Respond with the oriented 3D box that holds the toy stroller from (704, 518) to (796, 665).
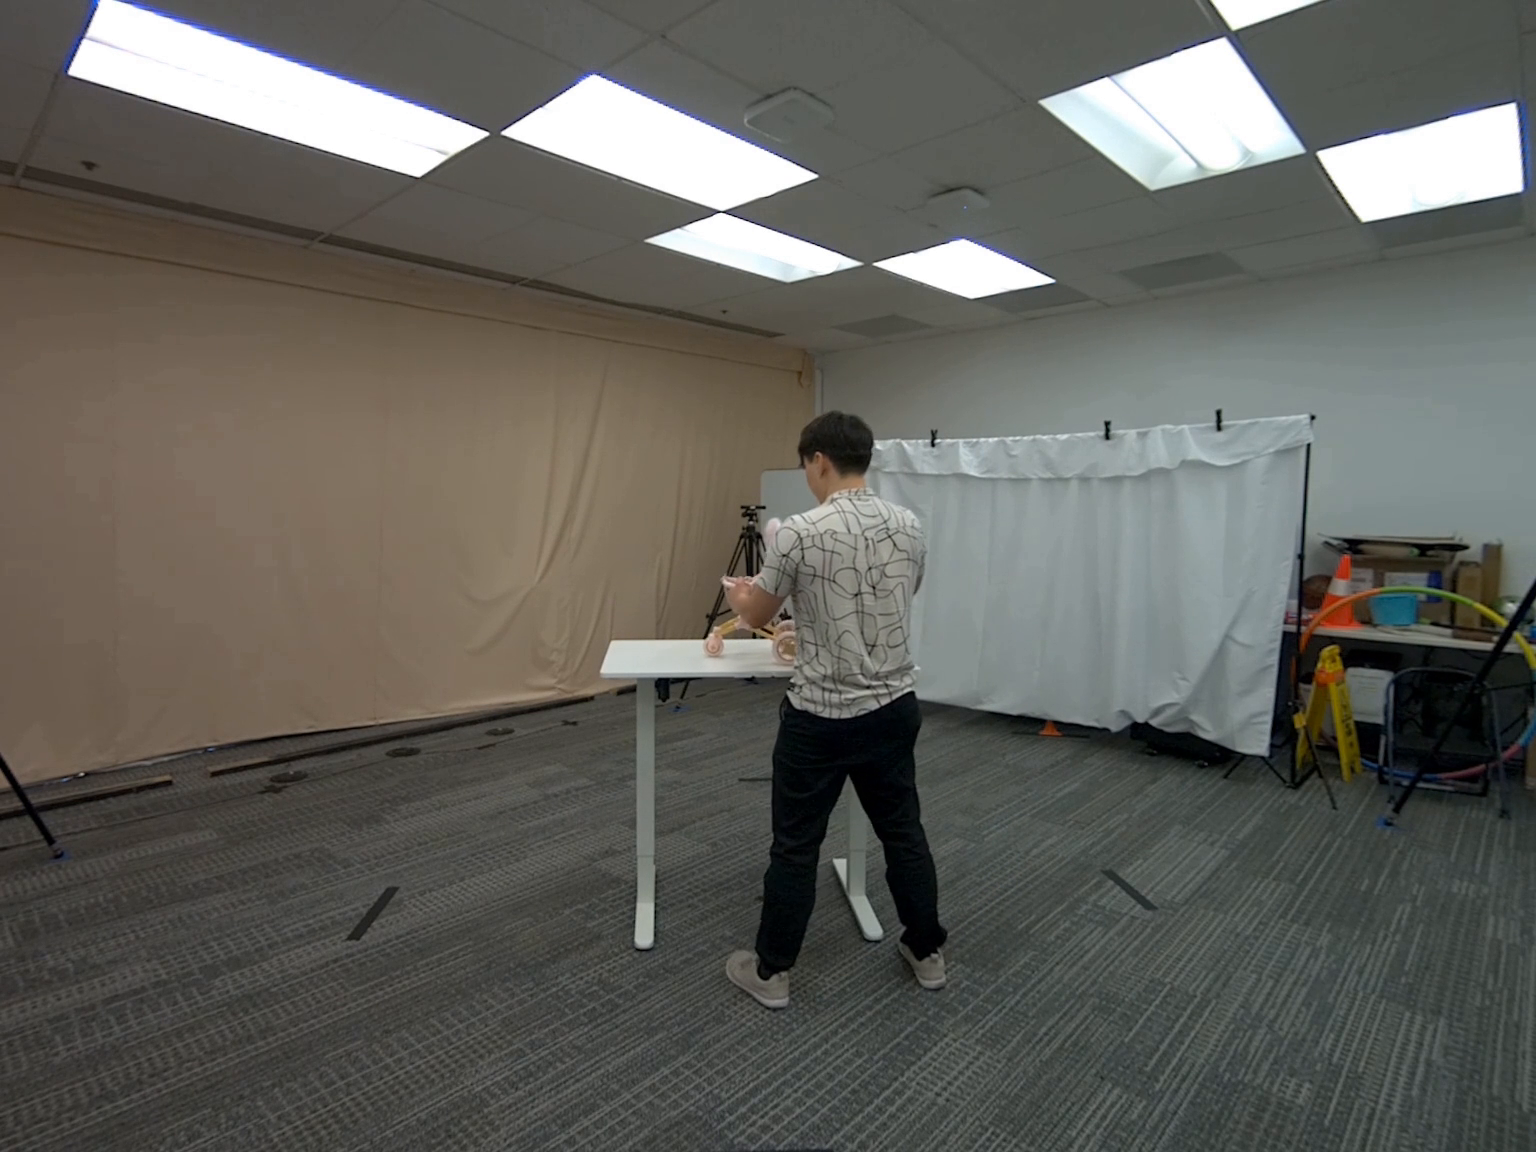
[{"bbox_3d":[0.007,0.050,2.814,0.346,0.534,0.278,13,6,10],"label":"toy stroller"}]
